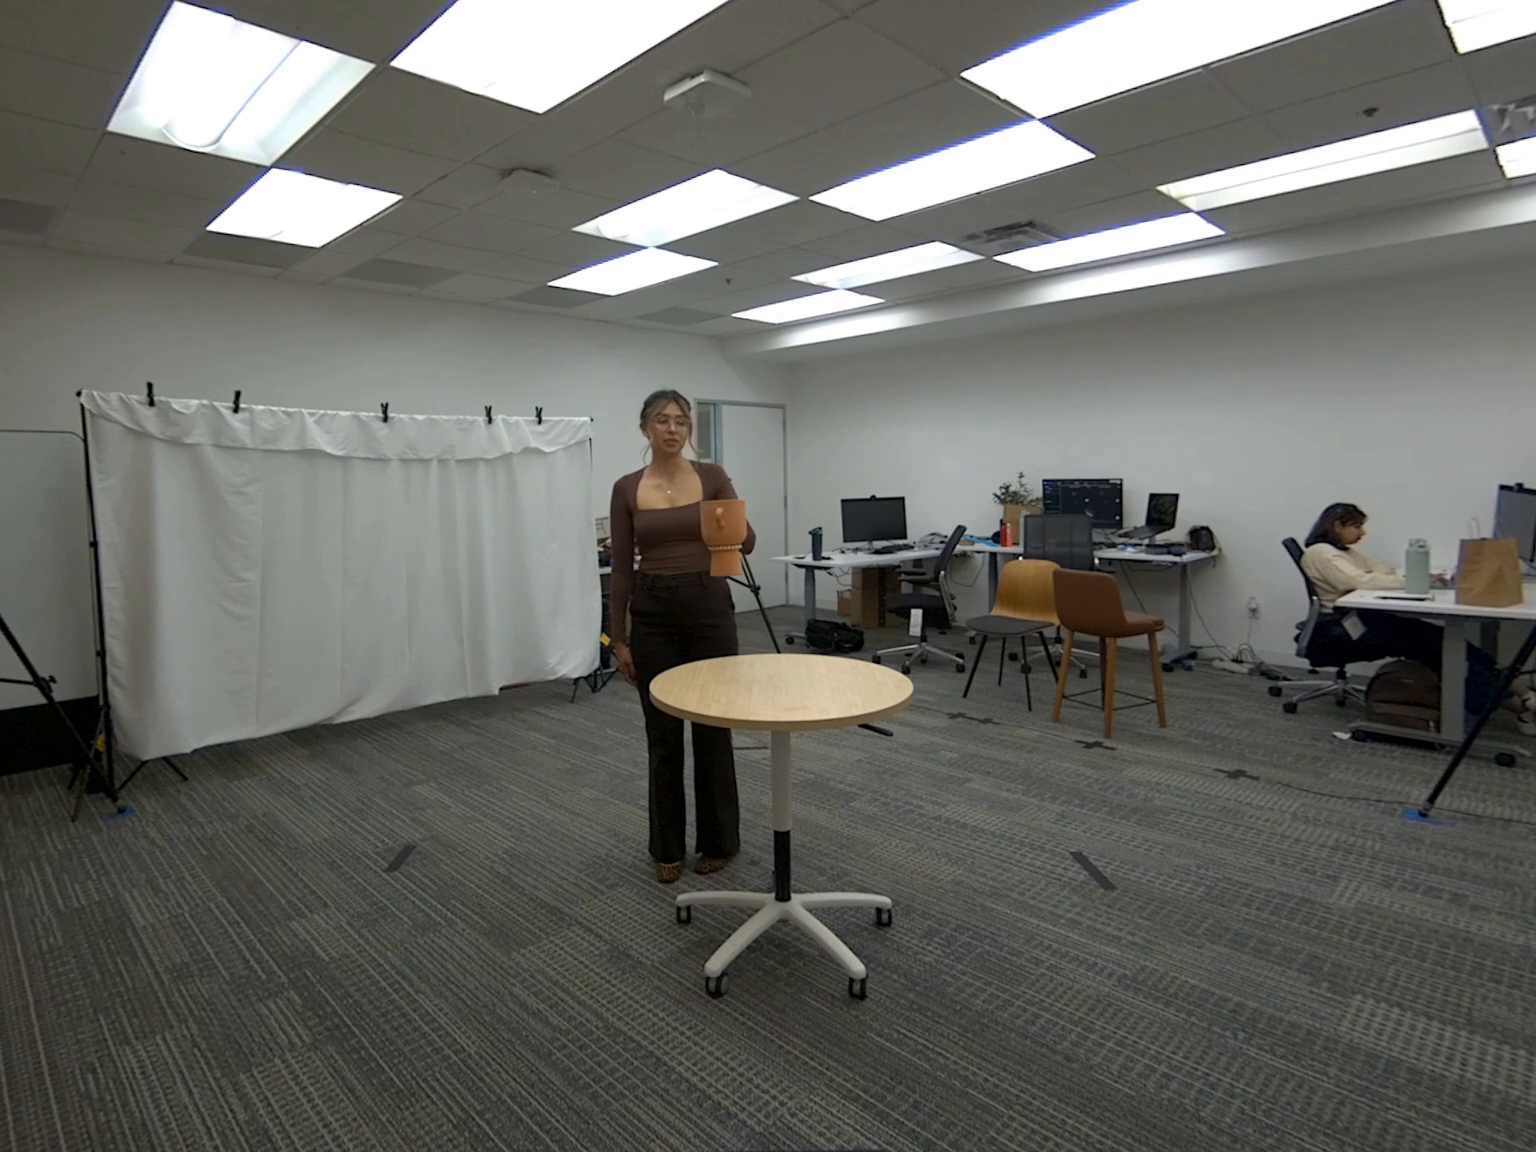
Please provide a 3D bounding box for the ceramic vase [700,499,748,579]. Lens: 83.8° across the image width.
[{"bbox_3d":[-0.120,-0.108,2.523,0.155,0.219,0.138,-6,5,-44],"label":"ceramic vase"}]
